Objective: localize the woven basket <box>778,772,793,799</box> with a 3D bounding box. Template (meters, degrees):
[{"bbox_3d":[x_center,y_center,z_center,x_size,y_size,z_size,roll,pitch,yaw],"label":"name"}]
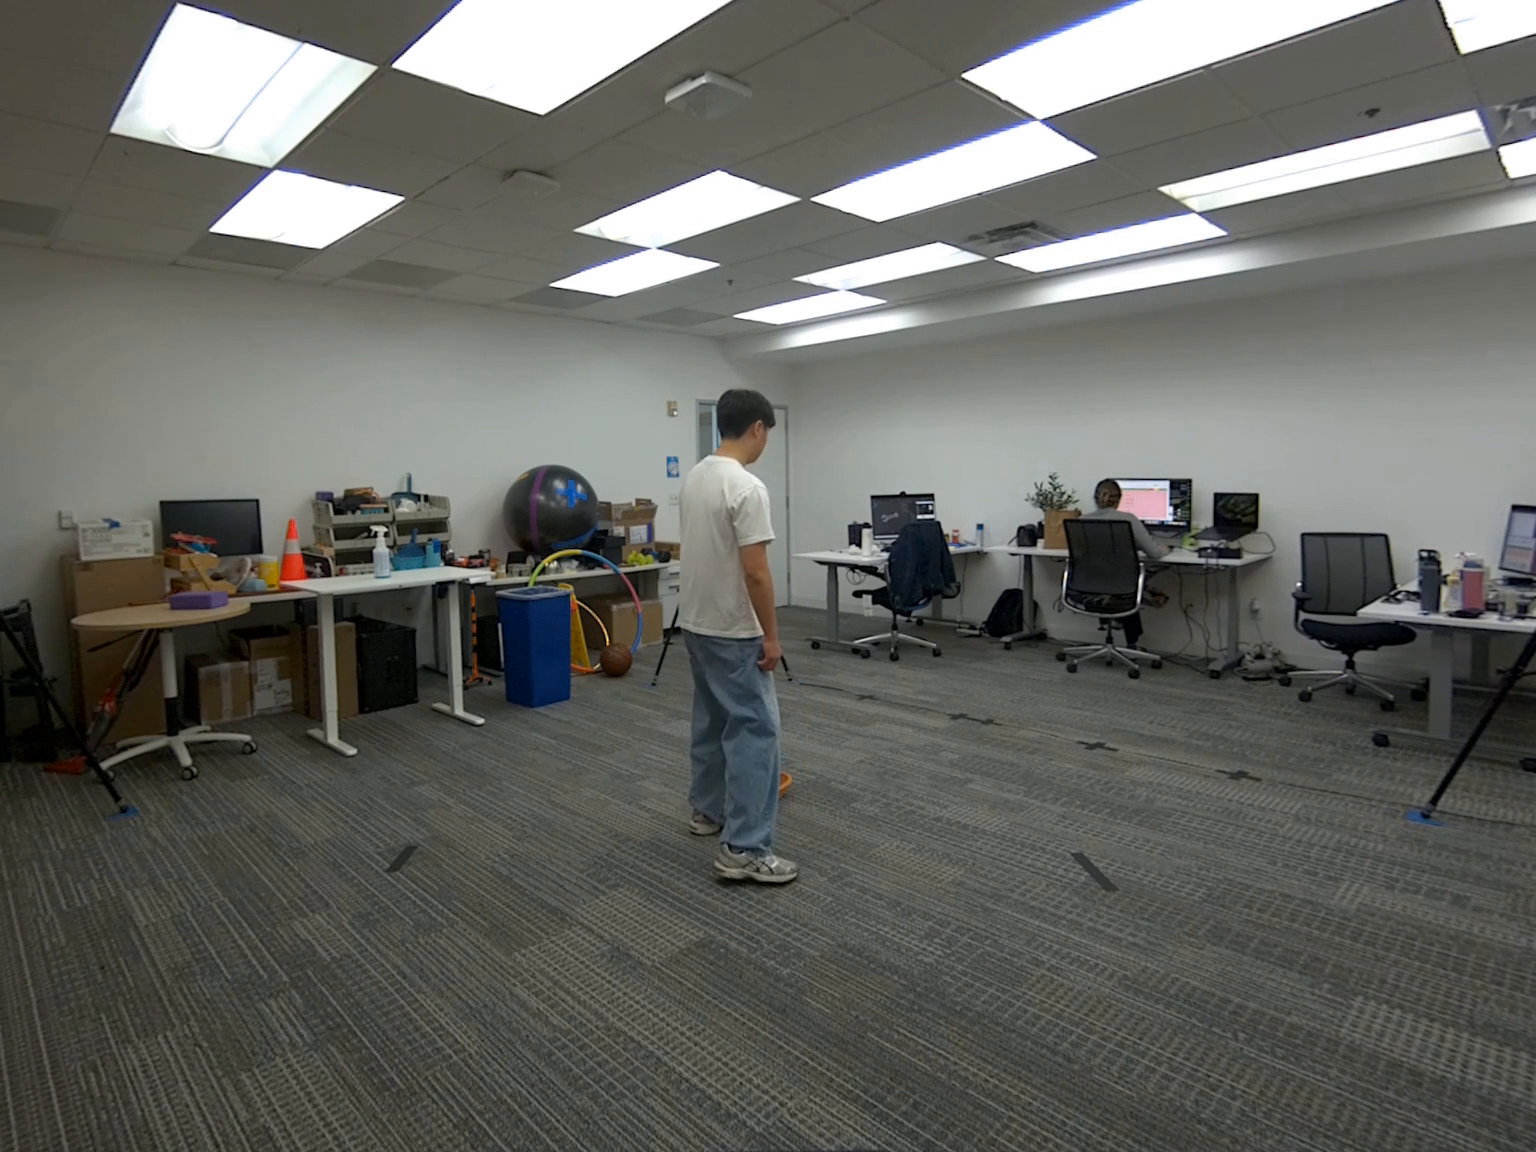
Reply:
[{"bbox_3d":[-0.036,0.935,3.741,0.260,0.073,0.342,3,8,35],"label":"woven basket"}]
